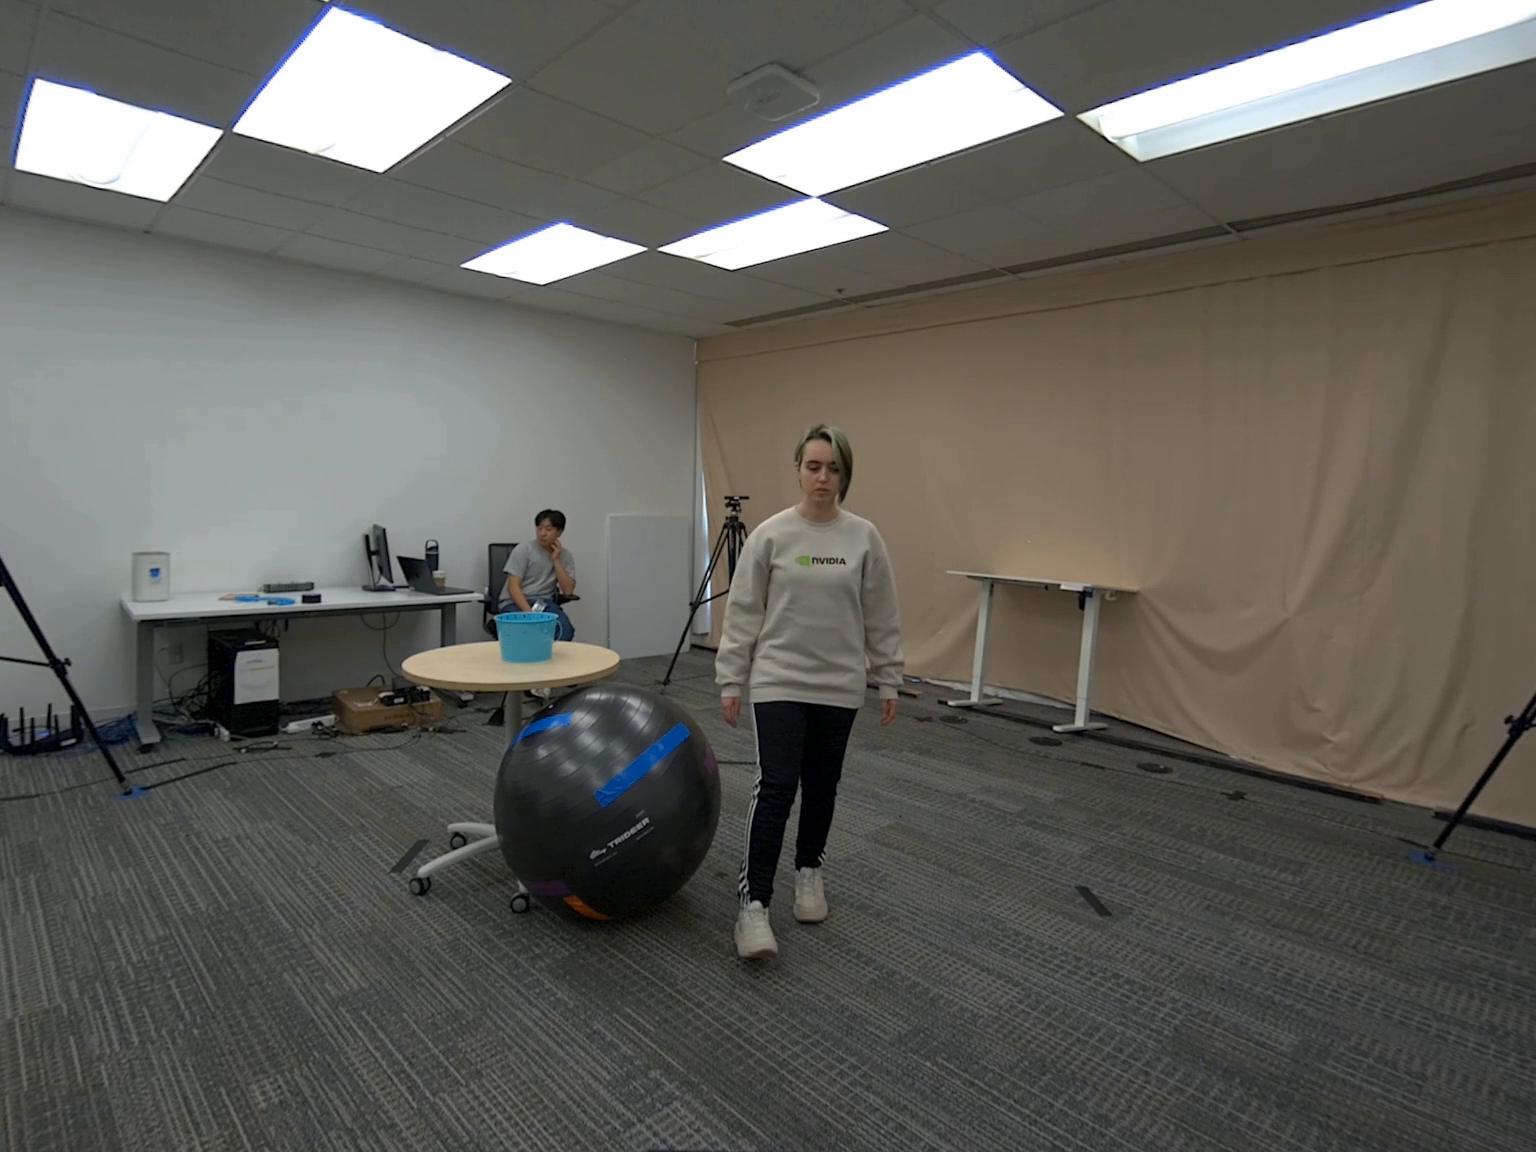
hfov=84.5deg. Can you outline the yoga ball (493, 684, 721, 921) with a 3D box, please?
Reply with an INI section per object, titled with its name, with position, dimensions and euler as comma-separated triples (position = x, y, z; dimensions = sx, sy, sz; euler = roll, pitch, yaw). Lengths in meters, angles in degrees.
[yoga ball]
position = -0.545, 0.753, 2.823
dimensions = 0.757, 0.756, 0.761
euler = 1, 4, -1
